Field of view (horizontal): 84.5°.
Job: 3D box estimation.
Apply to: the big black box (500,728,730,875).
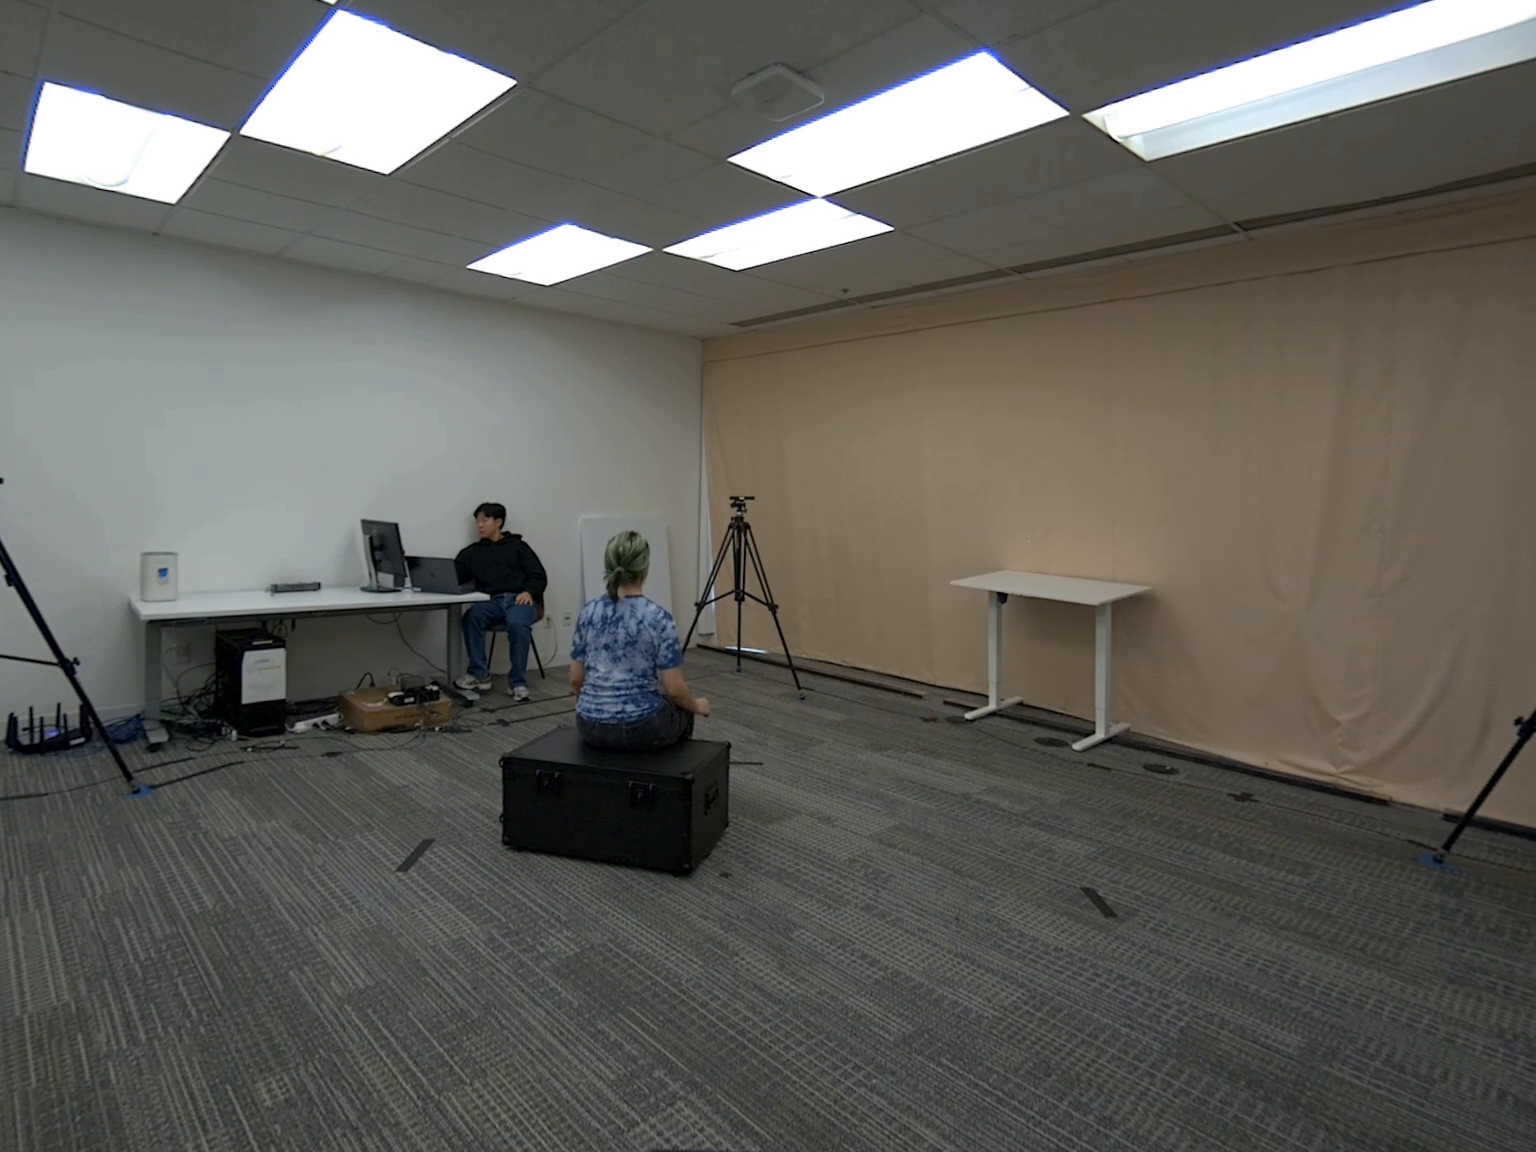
[{"bbox_3d":[-0.634,0.876,3.388,0.872,0.395,0.516,3,5,15],"label":"big black box"}]
